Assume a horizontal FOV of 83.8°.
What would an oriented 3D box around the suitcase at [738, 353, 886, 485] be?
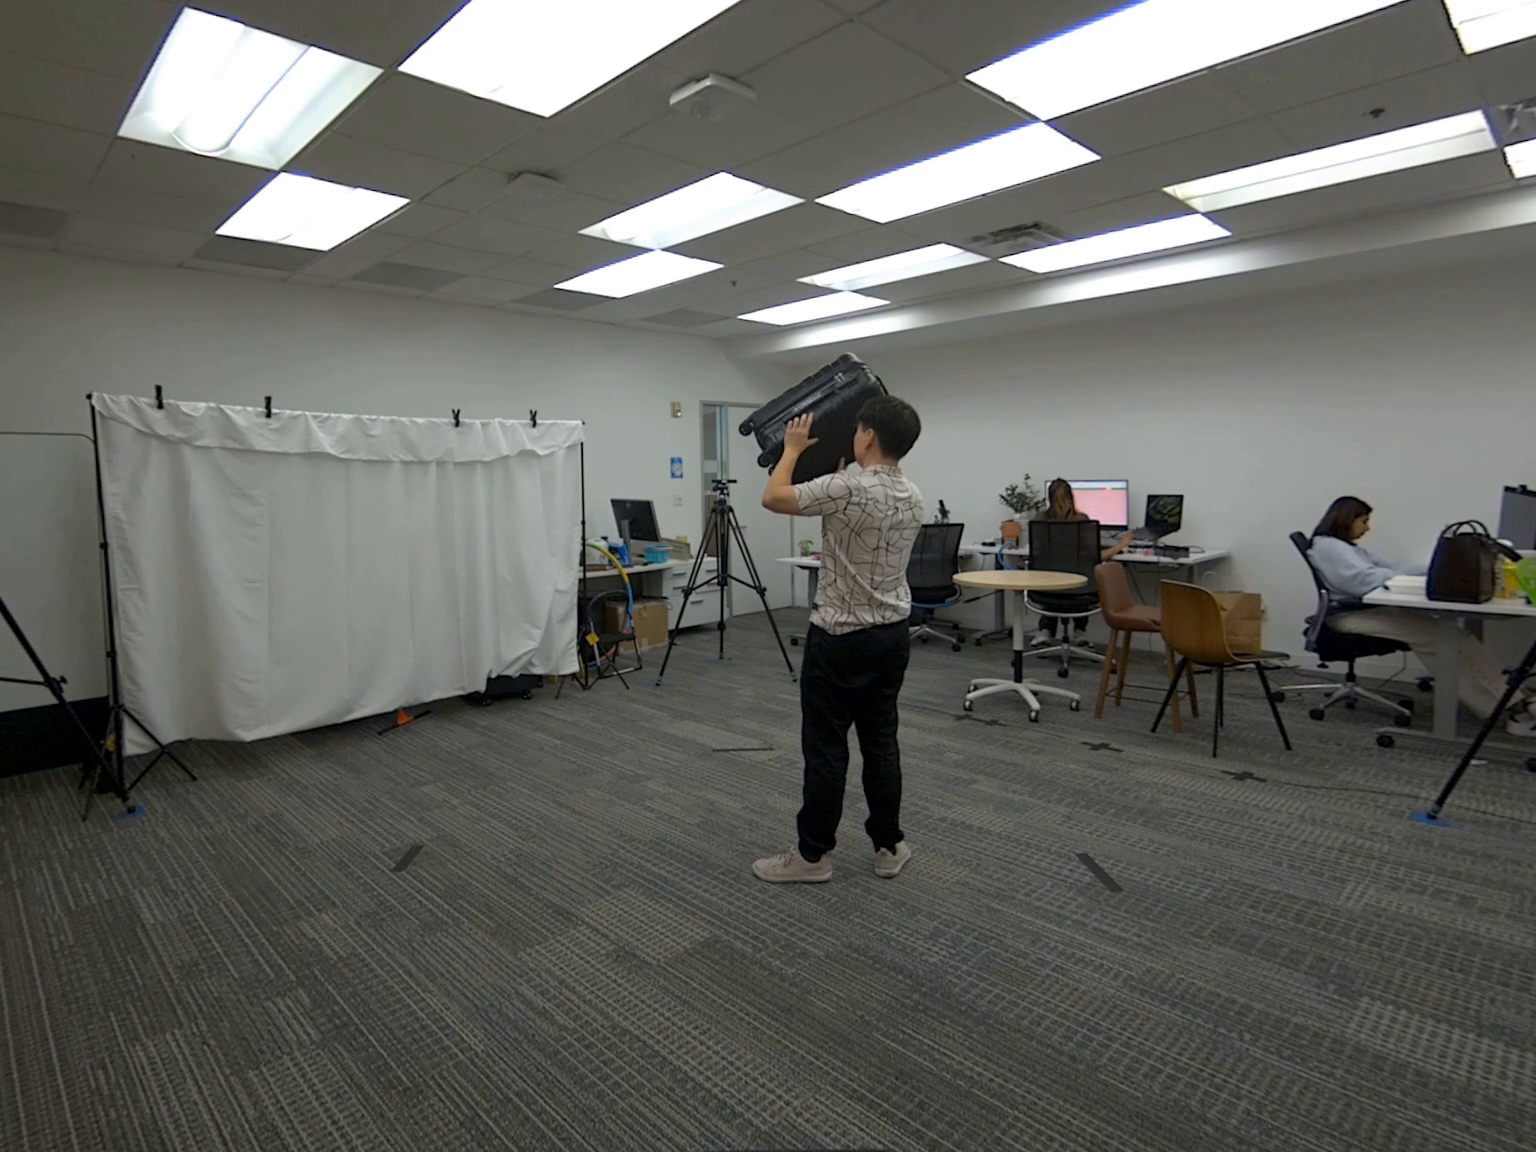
[{"bbox_3d":[0.203,-0.581,3.314,0.550,0.258,0.361,-34,-43,7],"label":"suitcase"}]
